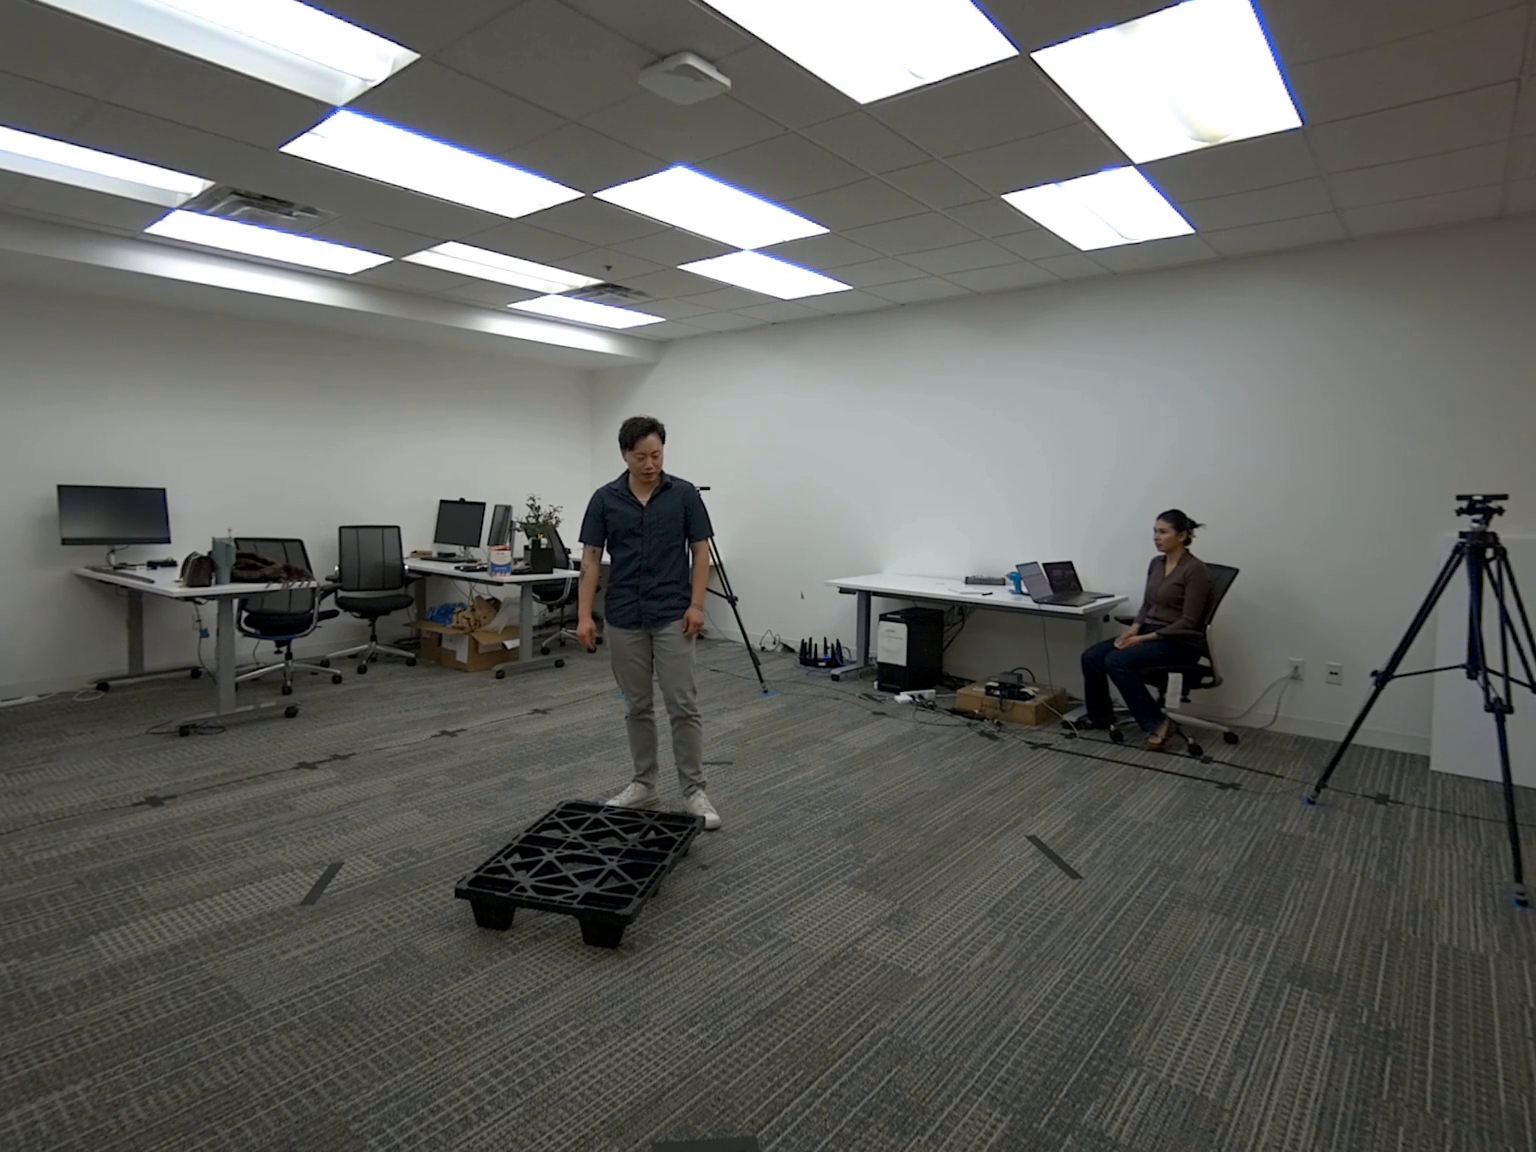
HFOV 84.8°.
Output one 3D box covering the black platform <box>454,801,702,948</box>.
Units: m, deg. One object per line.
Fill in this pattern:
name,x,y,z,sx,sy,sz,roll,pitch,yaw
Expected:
black platform,-0.624,1.008,2.953,0.615,0.143,0.796,1,5,13
